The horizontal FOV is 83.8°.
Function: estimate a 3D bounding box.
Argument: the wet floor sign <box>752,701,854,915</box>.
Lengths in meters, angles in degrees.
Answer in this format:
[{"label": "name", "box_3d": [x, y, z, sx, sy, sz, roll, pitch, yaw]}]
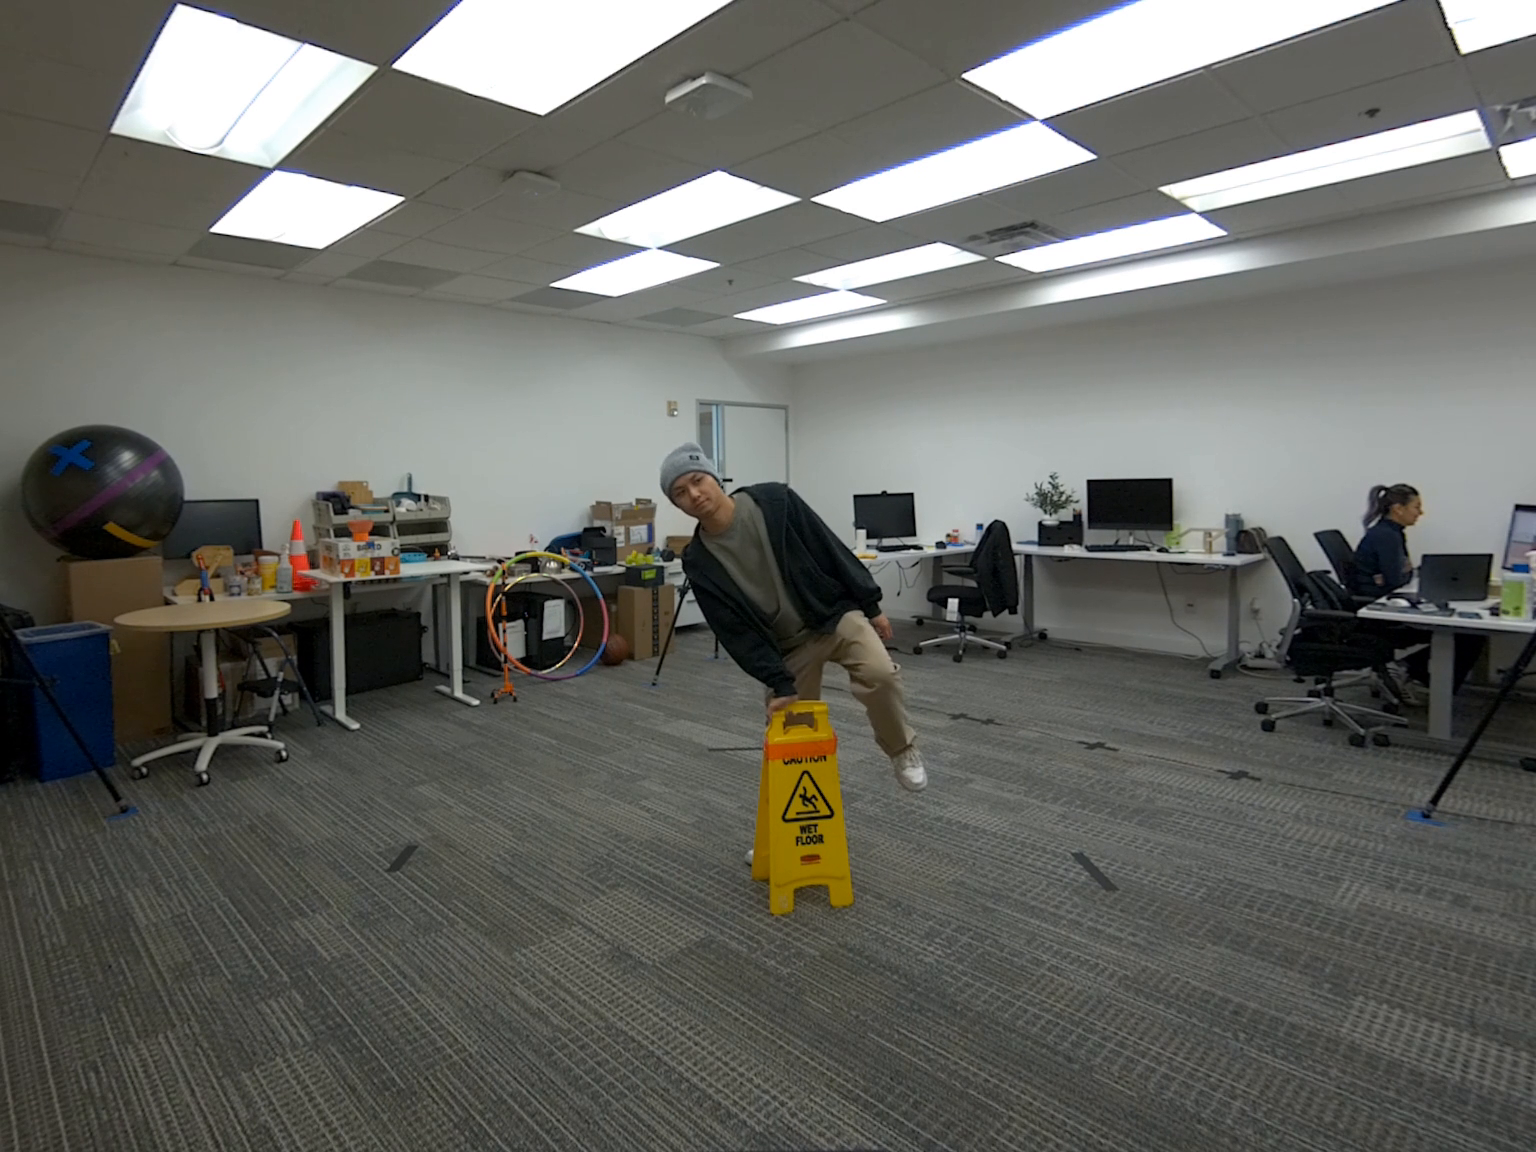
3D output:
[{"label": "wet floor sign", "box_3d": [0.106, 0.747, 2.861, 0.279, 0.643, 0.295, -3, 5, -14]}]
